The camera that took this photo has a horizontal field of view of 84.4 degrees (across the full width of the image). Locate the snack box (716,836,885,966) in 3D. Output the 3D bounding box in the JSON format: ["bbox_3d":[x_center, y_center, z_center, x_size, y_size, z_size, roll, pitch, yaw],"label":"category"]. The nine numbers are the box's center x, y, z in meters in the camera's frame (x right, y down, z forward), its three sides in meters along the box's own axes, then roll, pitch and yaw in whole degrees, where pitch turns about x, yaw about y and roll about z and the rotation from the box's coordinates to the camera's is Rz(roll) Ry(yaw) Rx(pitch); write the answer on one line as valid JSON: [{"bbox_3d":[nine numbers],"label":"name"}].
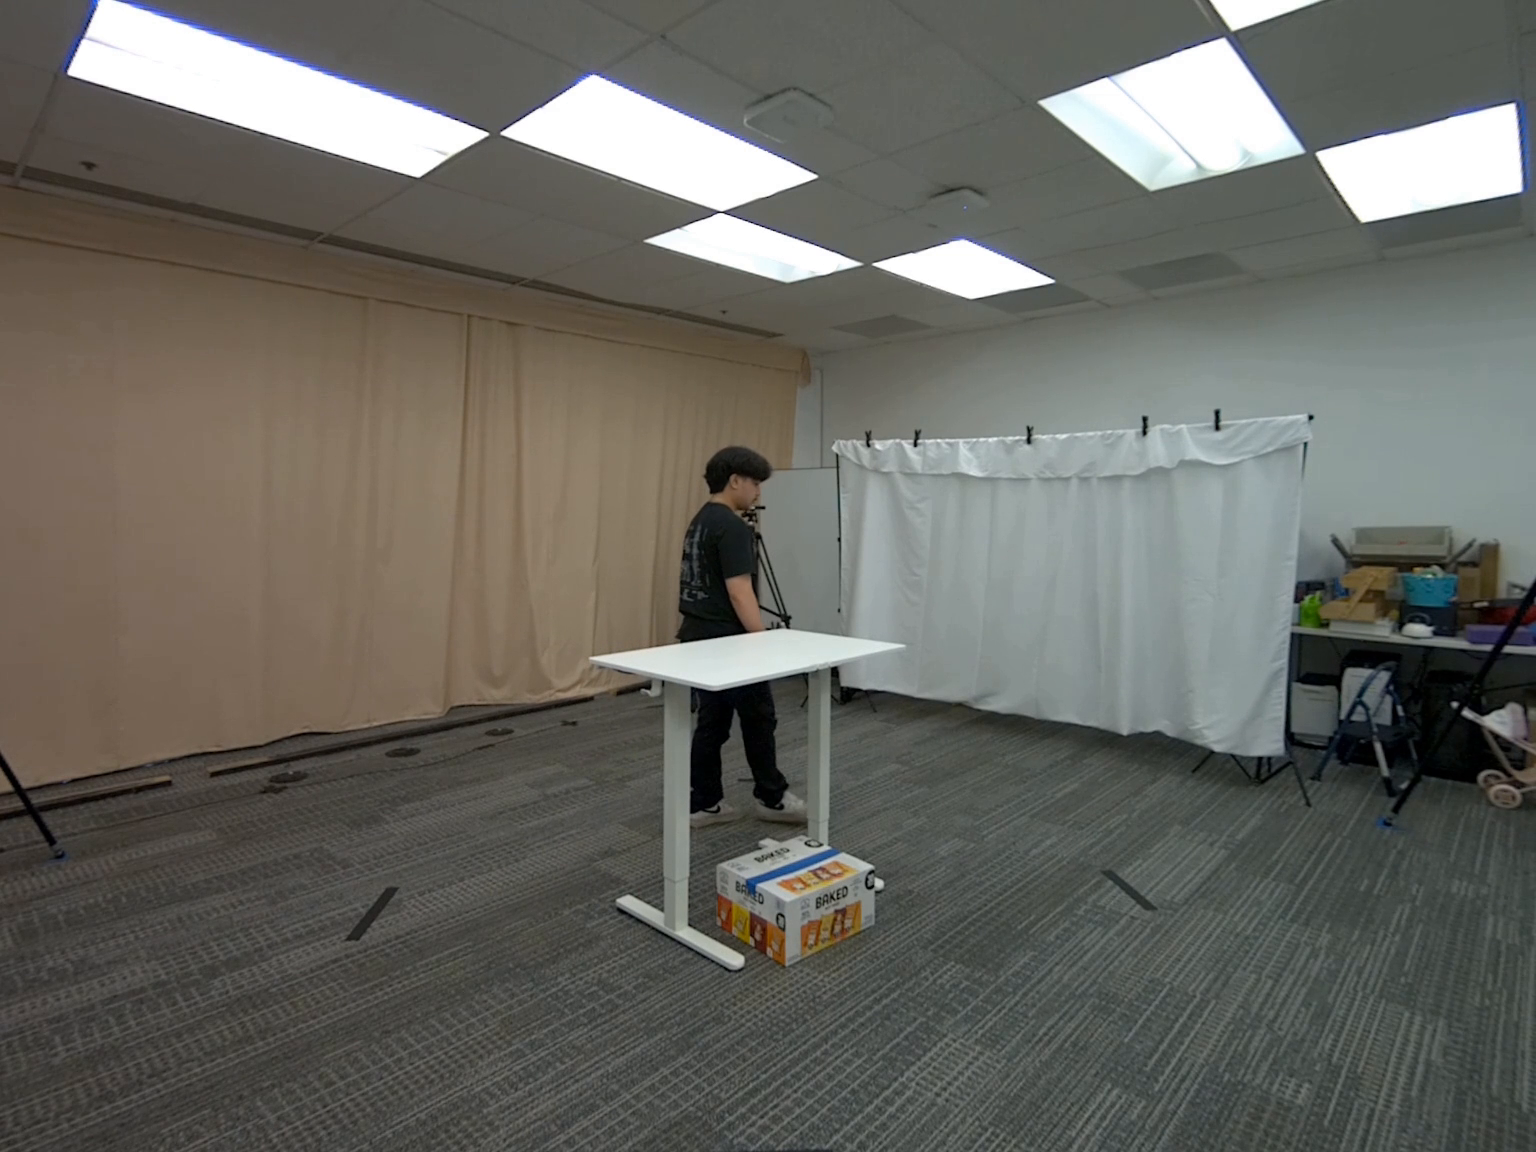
[{"bbox_3d":[0.096,1.061,2.787,0.393,0.205,0.352,-4,6,-41],"label":"snack box"}]
